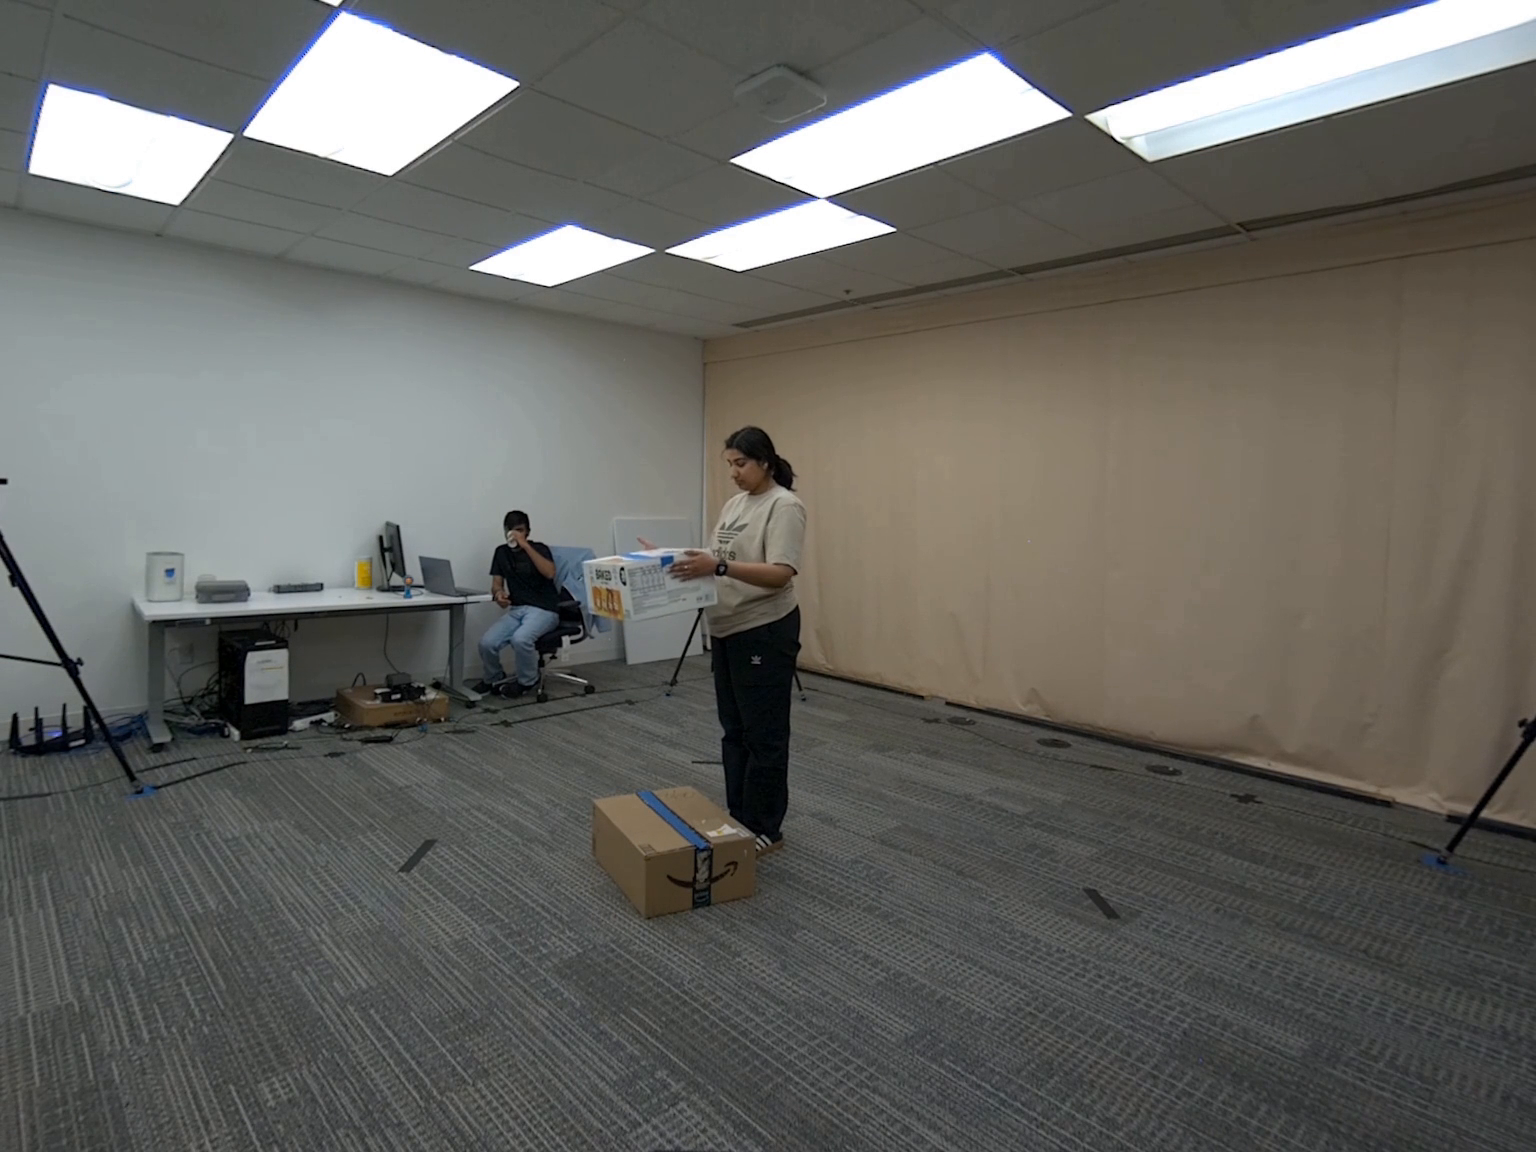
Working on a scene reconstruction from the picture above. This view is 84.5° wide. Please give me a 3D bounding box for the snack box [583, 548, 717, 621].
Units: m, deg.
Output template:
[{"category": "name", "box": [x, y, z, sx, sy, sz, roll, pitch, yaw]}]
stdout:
[{"category": "snack box", "box": [-0.444, 0.027, 3.091, 0.334, 0.205, 0.414, -10, 8, -31]}]
